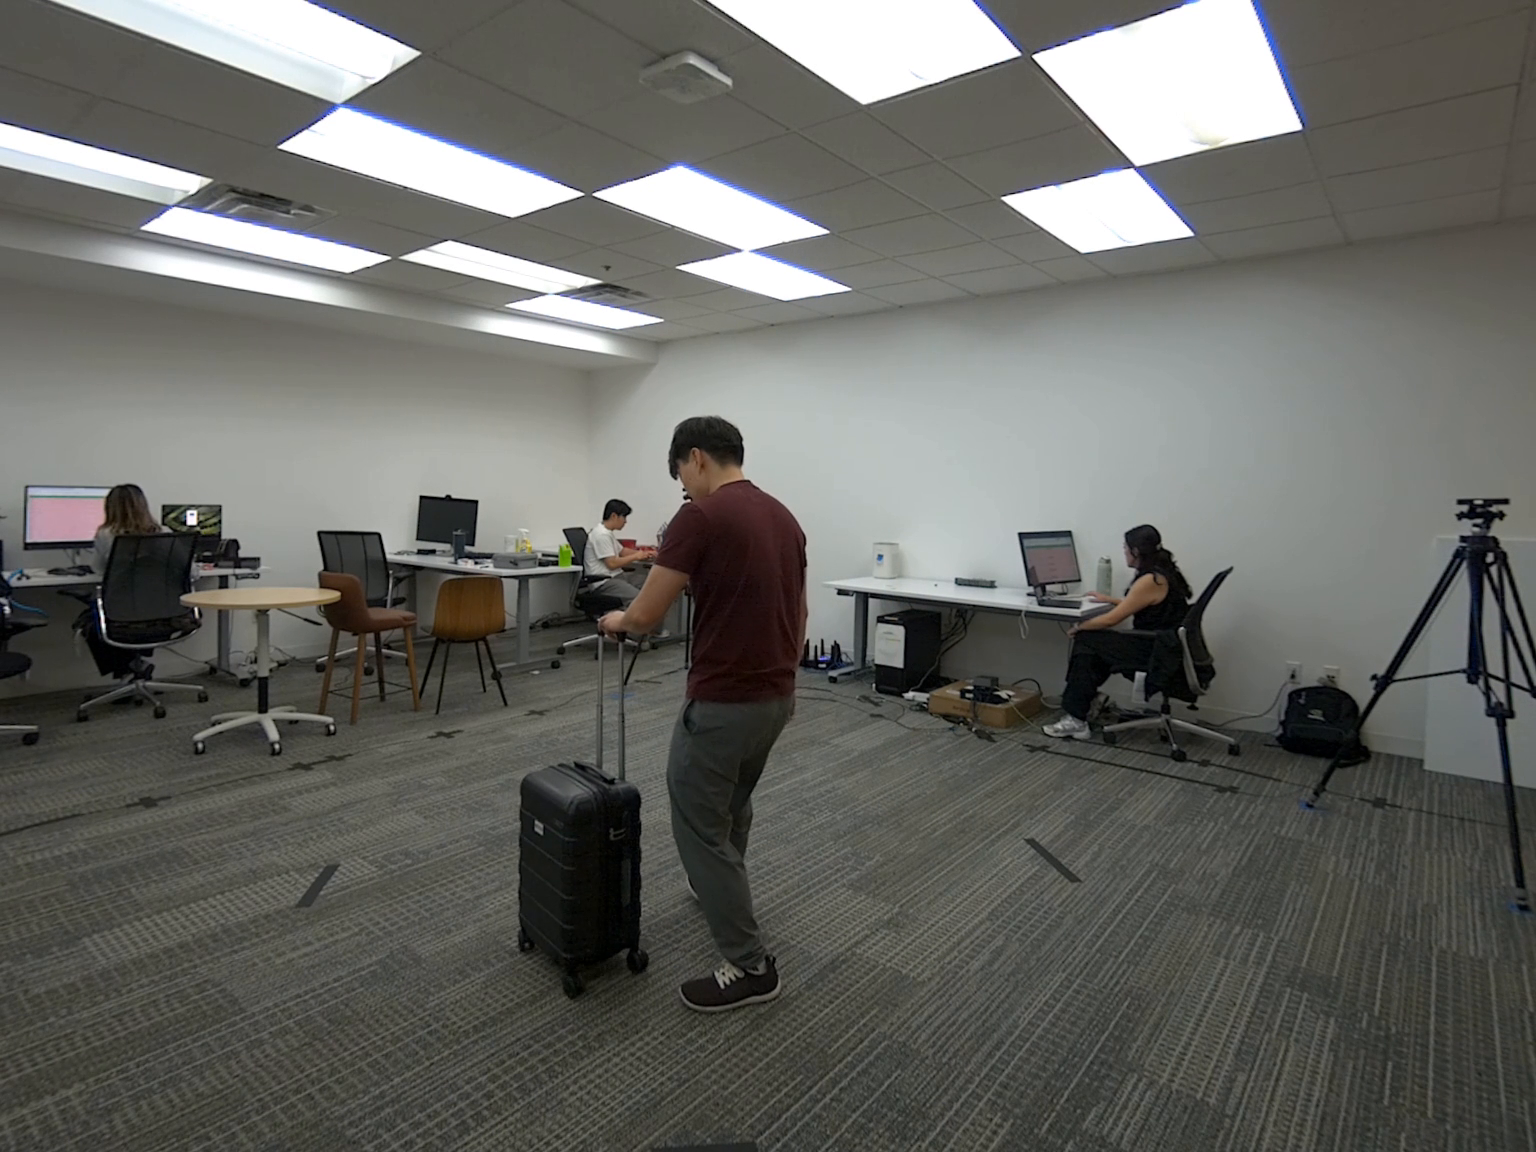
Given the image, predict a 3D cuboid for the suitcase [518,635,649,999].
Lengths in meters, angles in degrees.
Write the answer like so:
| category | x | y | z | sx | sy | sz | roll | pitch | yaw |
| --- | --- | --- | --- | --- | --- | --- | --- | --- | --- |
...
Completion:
| category | x | y | z | sx | sy | sz | roll | pitch | yaw |
| --- | --- | --- | --- | --- | --- | --- | --- | --- | --- |
| suitcase | -0.572 | 0.644 | 2.505 | 0.250 | 0.977 | 0.396 | -3 | 2 | -36 |
